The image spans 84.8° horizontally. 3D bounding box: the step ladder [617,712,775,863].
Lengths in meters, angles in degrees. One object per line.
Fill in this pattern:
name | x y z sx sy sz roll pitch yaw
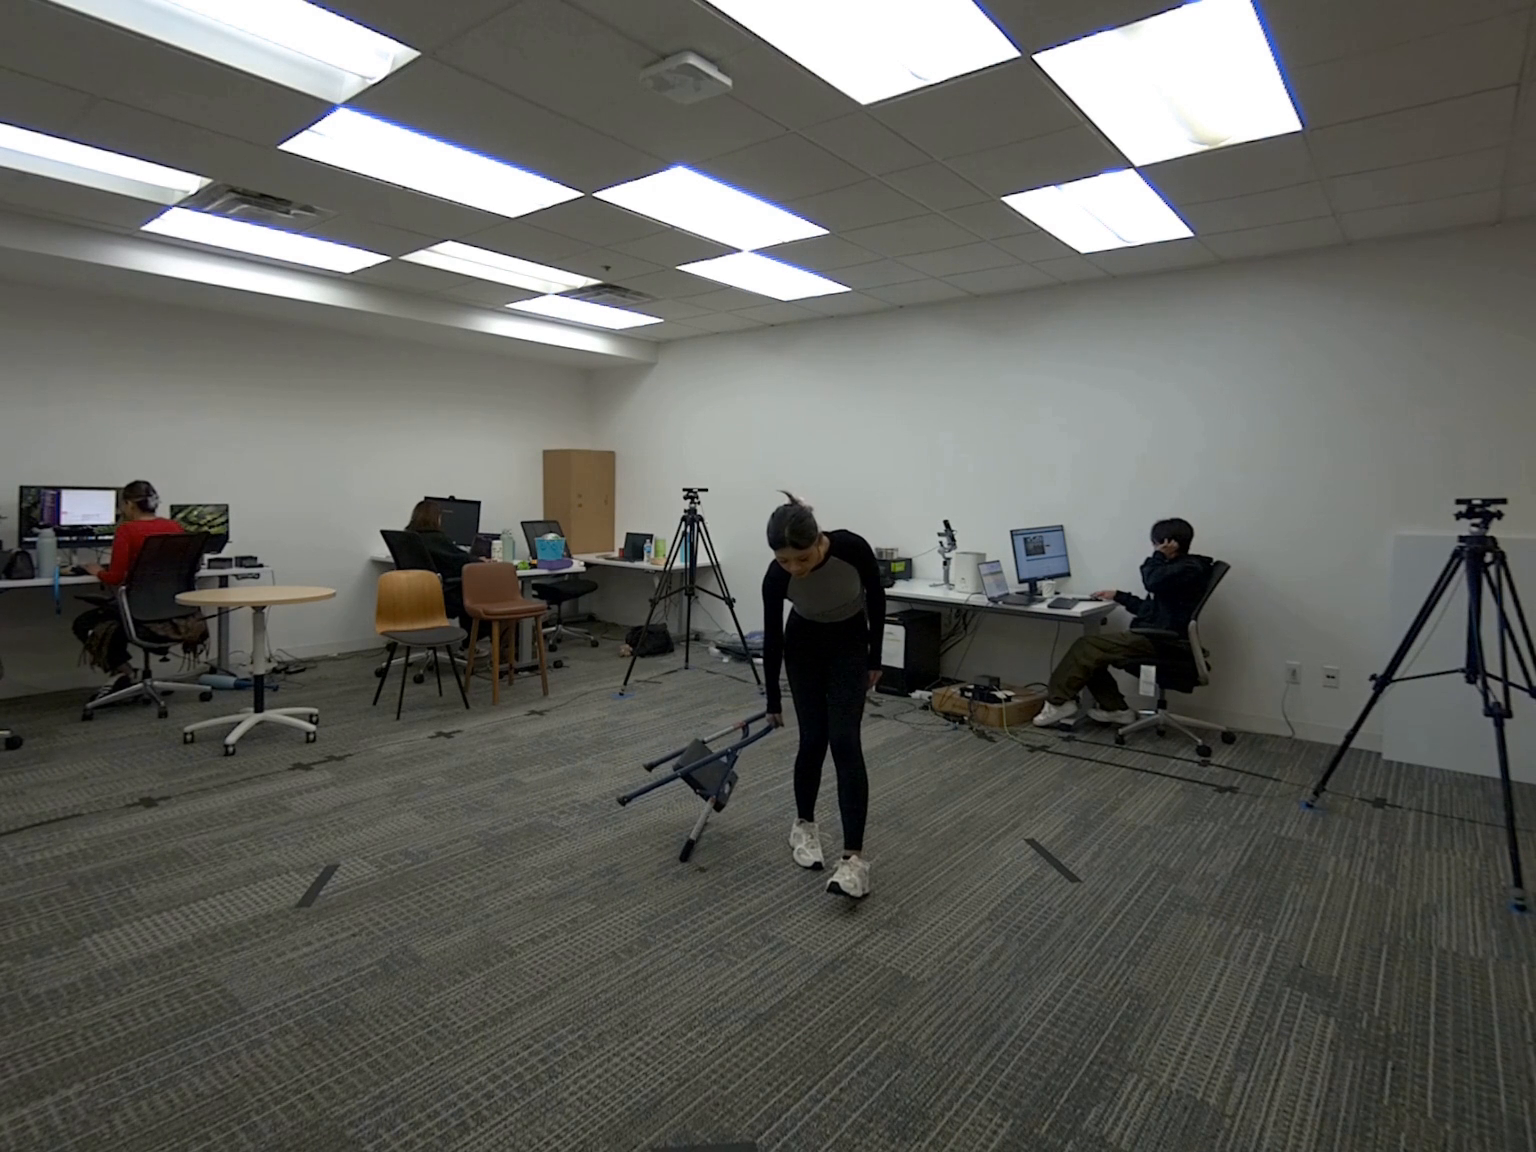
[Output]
step ladder | -0.235 0.718 3.337 0.352 0.606 0.428 43 9 3
